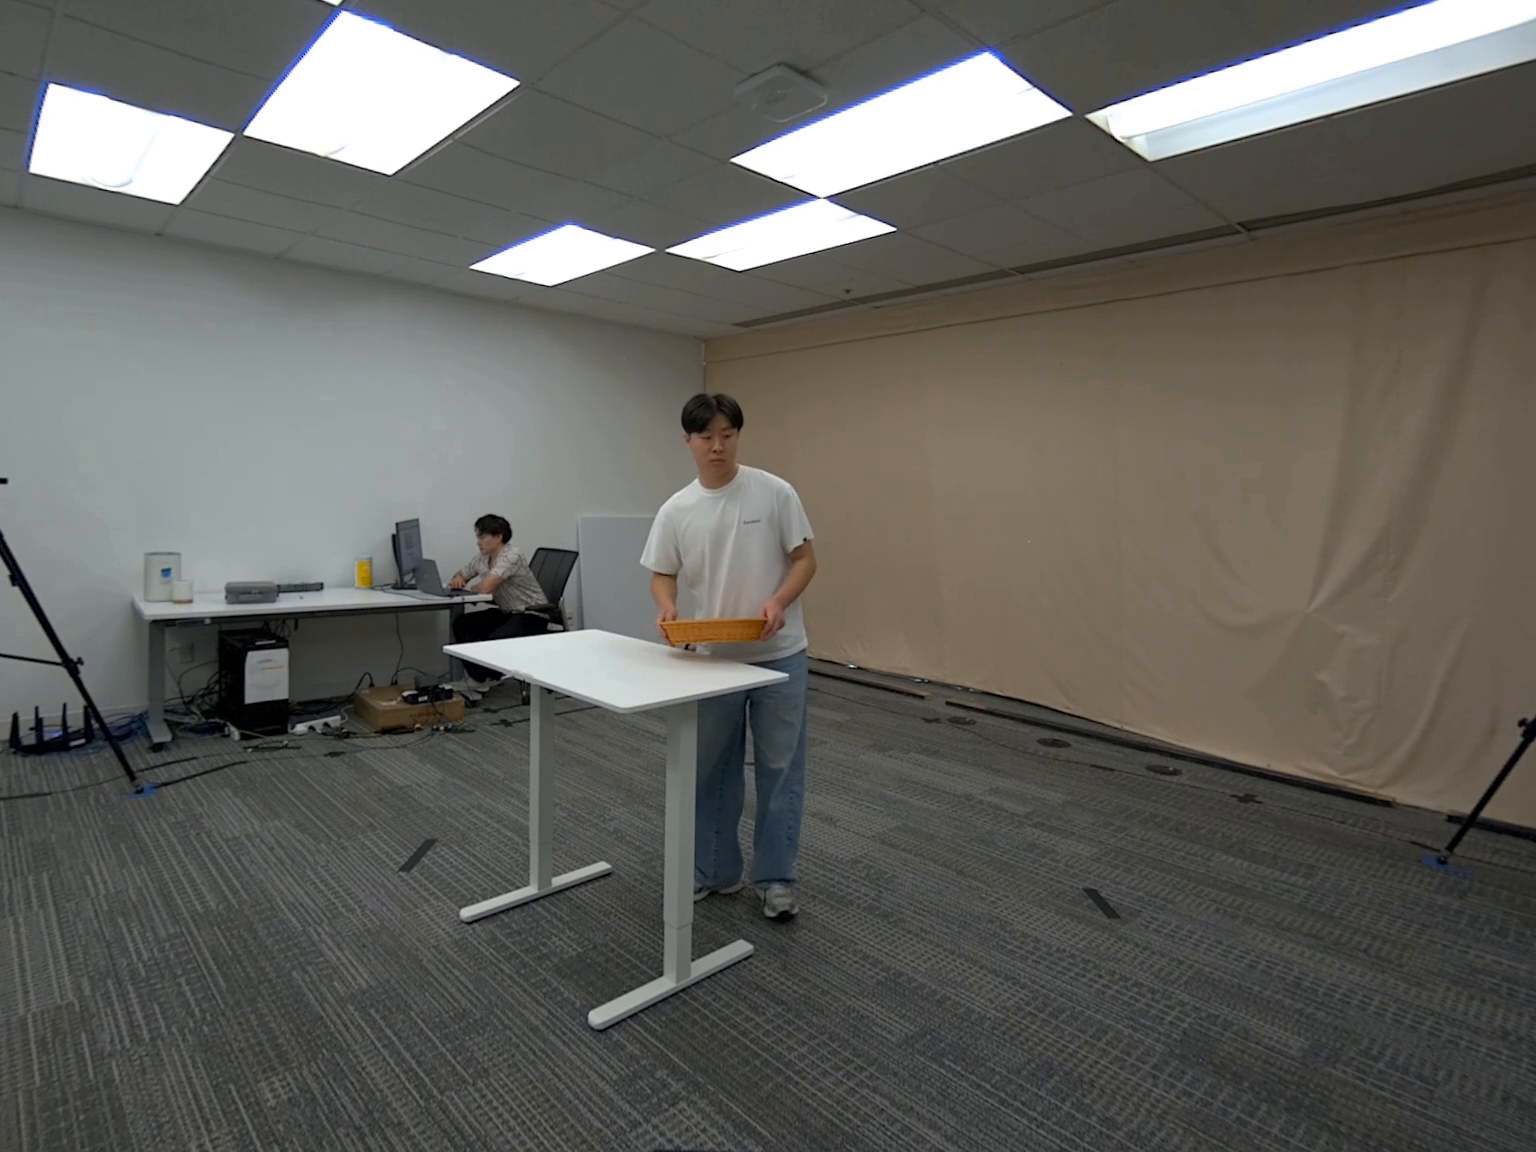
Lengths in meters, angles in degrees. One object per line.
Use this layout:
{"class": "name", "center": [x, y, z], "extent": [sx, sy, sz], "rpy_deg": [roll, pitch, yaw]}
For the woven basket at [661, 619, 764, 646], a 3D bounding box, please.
{"class": "woven basket", "center": [-0.175, 0.179, 2.654], "extent": [0.350, 0.074, 0.251], "rpy_deg": [-3, -3, -1]}
